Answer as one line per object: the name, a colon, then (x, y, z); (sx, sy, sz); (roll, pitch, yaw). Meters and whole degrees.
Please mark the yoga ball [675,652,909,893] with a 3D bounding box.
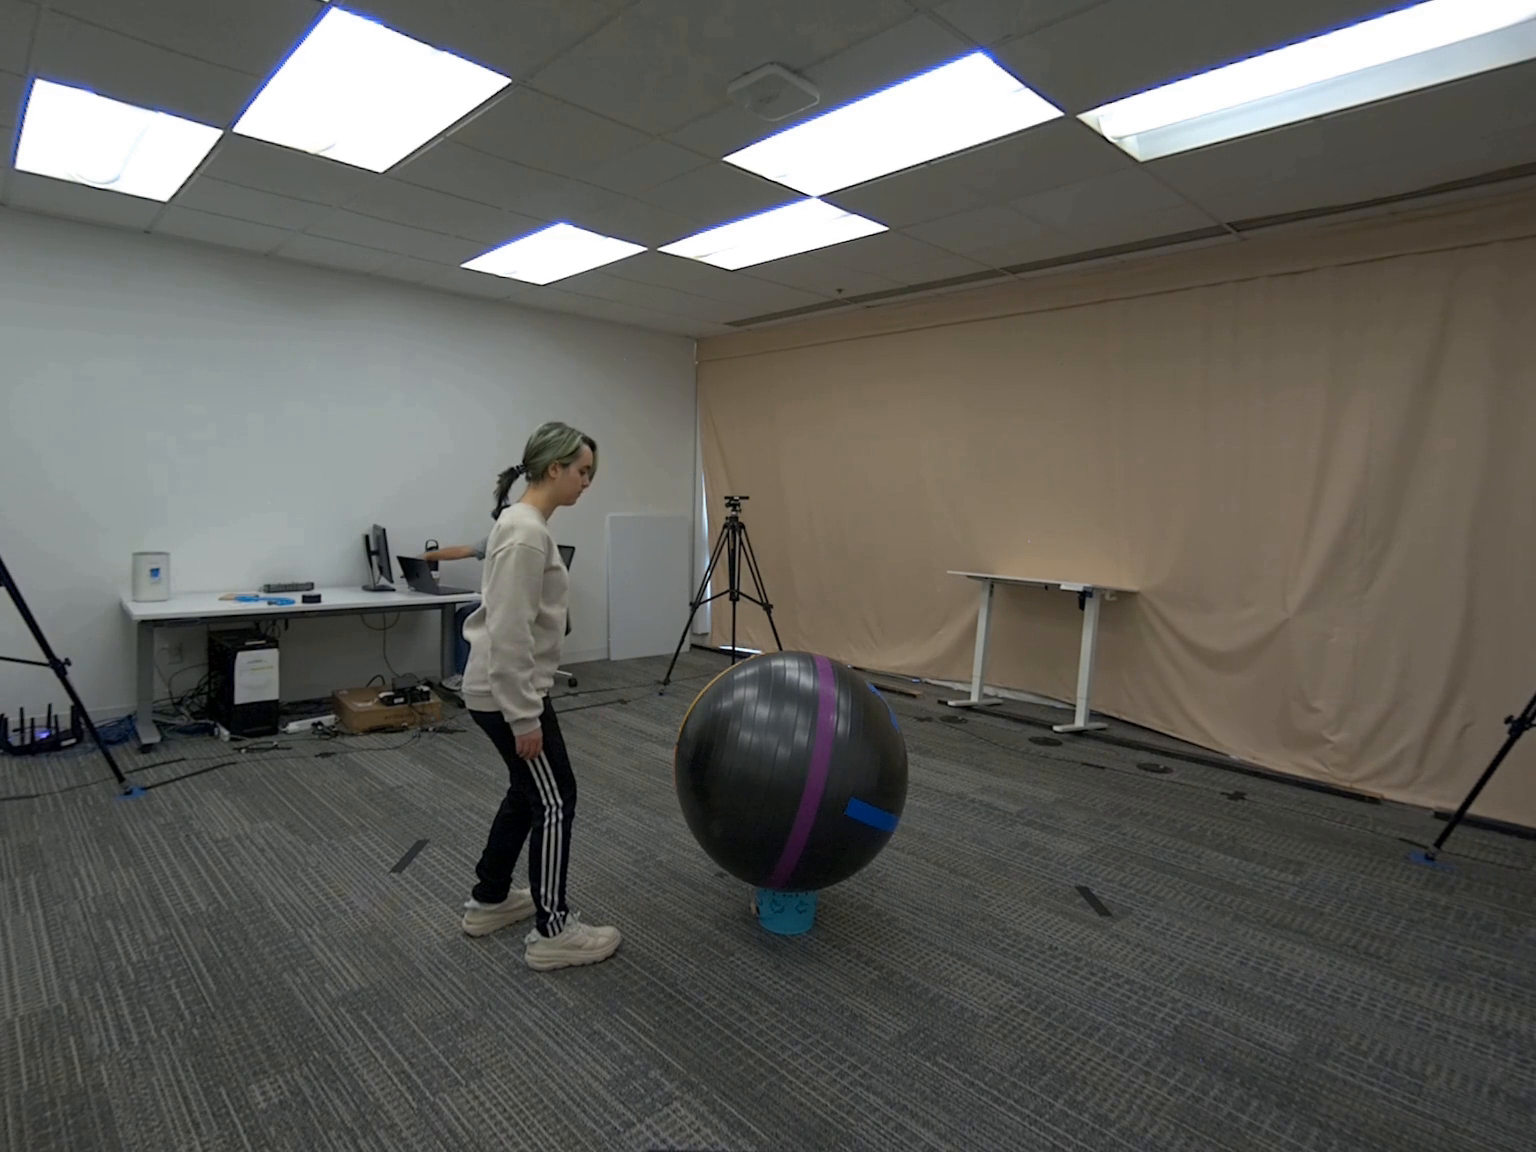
yoga ball: (0.066, 0.628, 2.751); (0.757, 0.756, 0.761); (1, 4, -1)
